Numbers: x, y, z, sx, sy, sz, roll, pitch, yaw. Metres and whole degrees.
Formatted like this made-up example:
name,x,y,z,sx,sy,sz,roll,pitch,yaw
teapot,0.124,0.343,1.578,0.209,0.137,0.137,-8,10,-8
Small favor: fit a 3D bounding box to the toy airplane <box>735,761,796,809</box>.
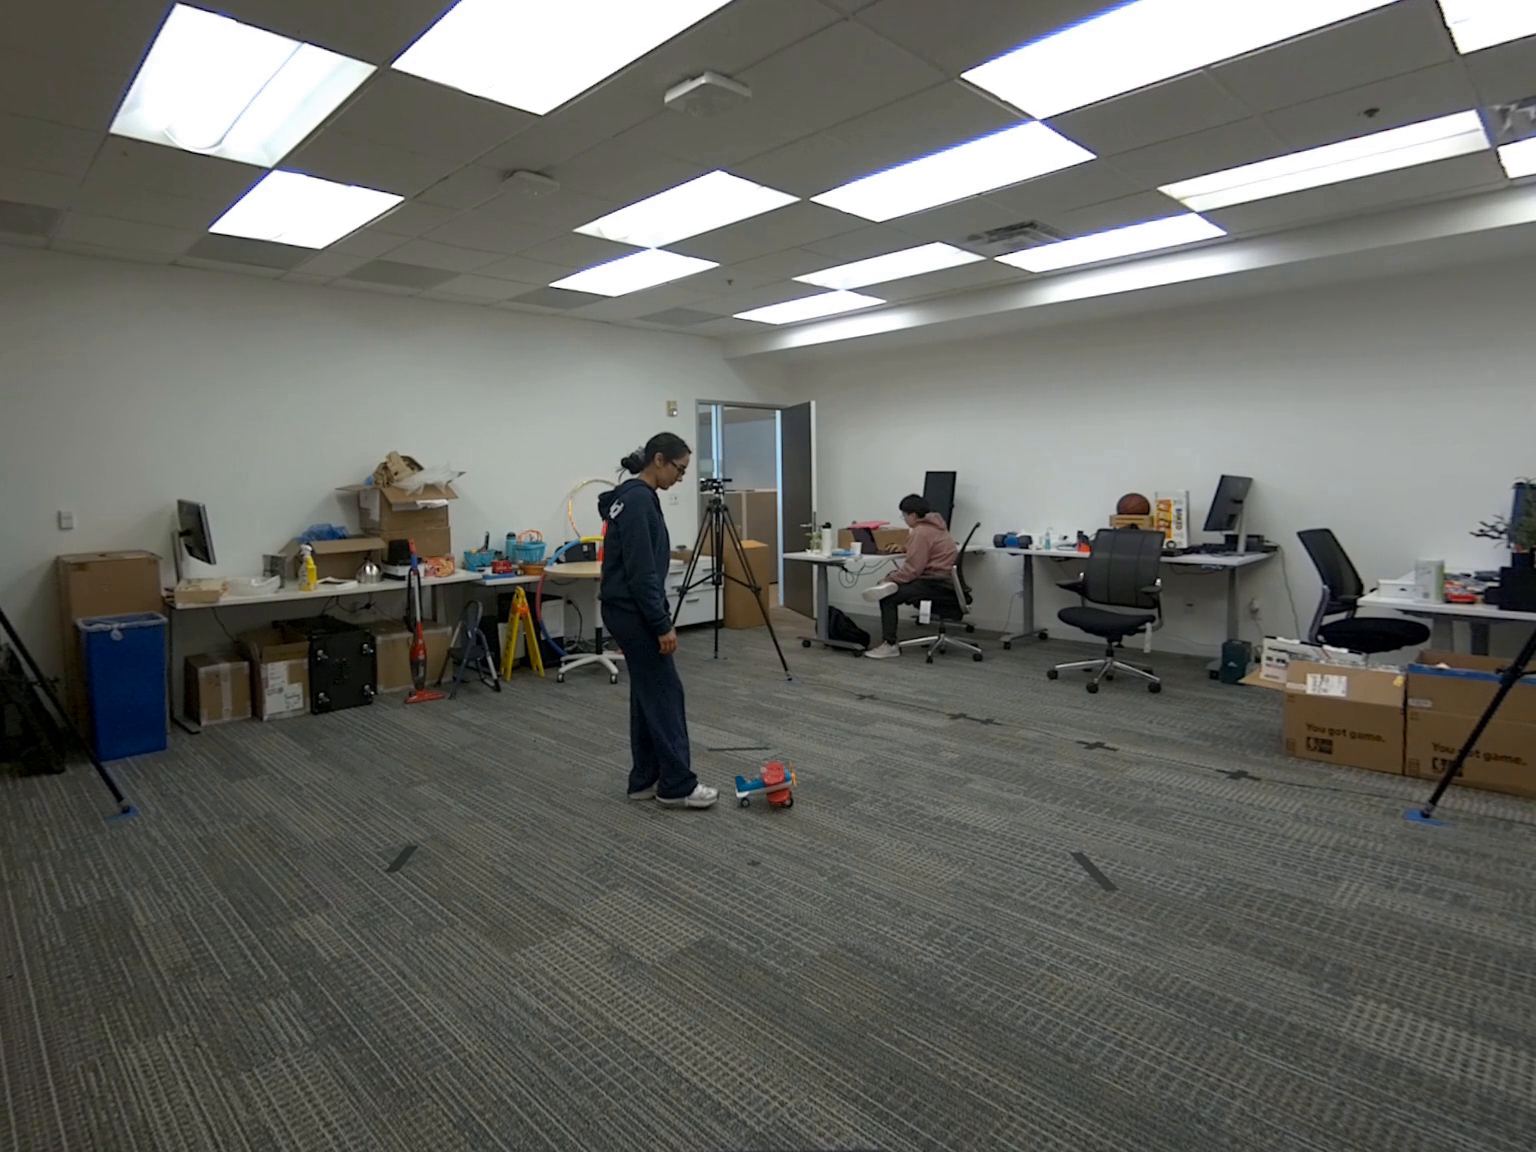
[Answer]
name,x,y,z,sx,sy,sz,roll,pitch,yaw
toy airplane,-0.003,0.898,3.639,0.253,0.156,0.258,-2,6,-29
